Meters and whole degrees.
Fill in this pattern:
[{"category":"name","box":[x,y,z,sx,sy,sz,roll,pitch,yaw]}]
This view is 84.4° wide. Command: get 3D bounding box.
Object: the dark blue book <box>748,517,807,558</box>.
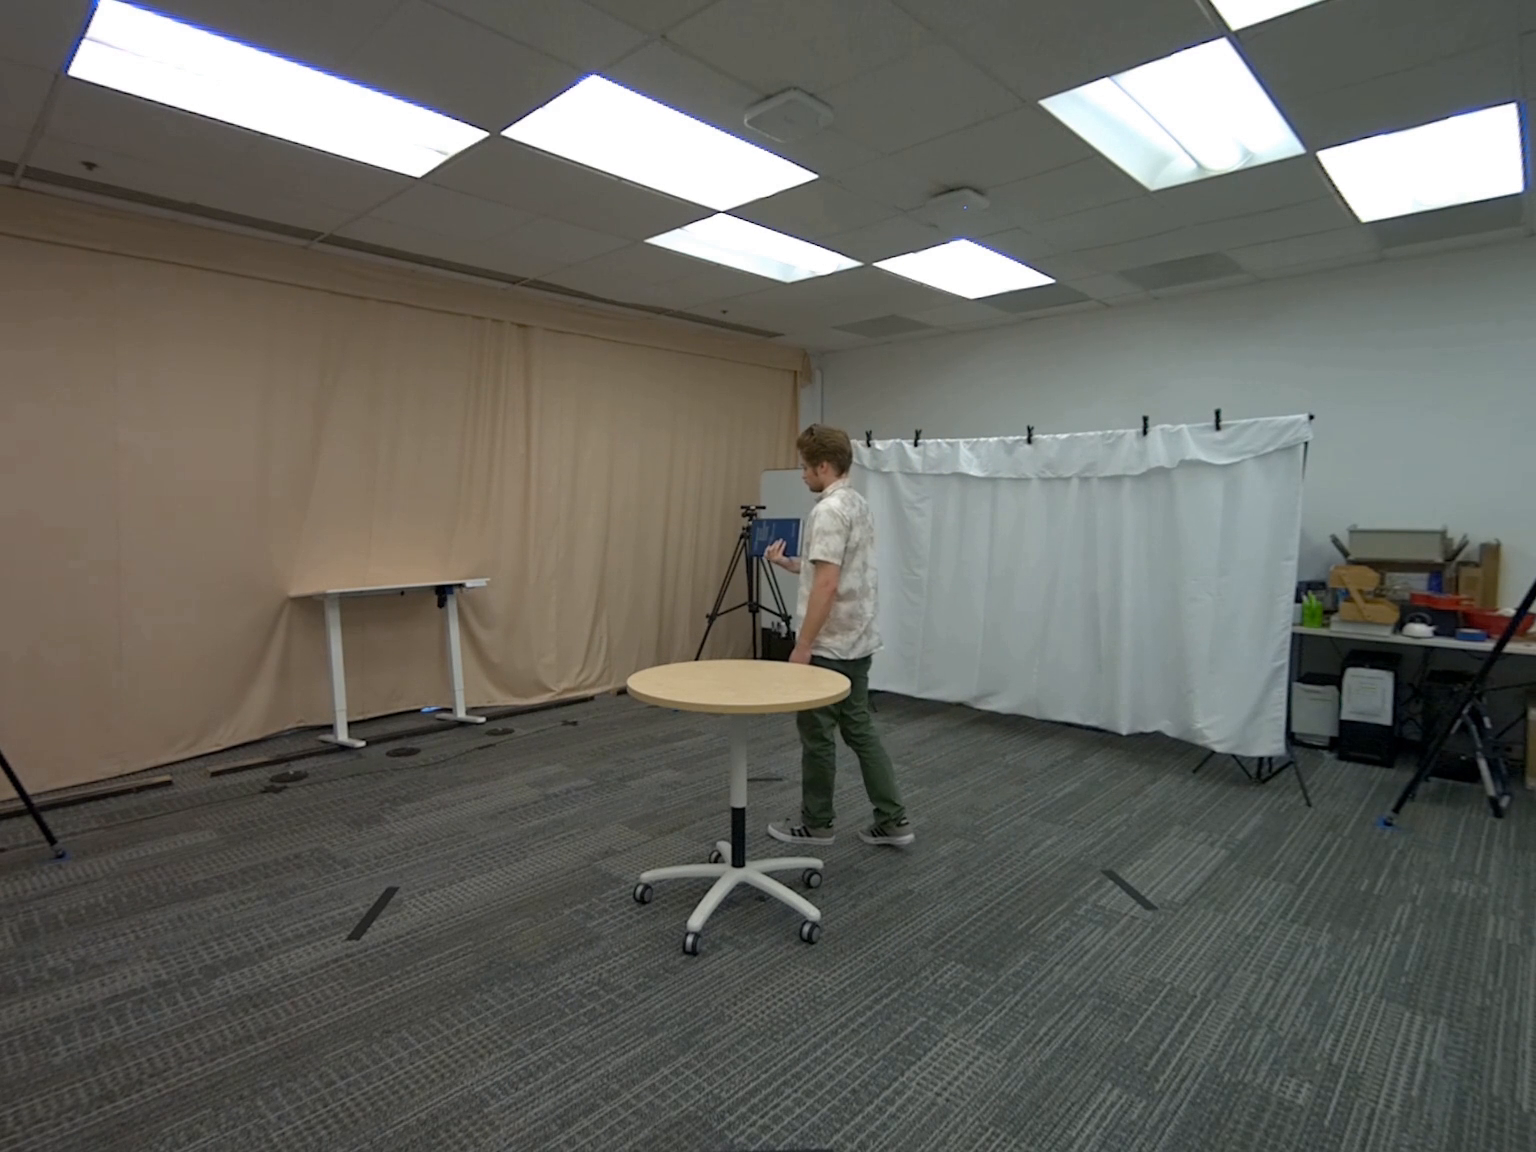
[{"category":"dark blue book","box":[0.041,-0.170,3.684,0.252,0.164,0.044,1,-11,31]}]
